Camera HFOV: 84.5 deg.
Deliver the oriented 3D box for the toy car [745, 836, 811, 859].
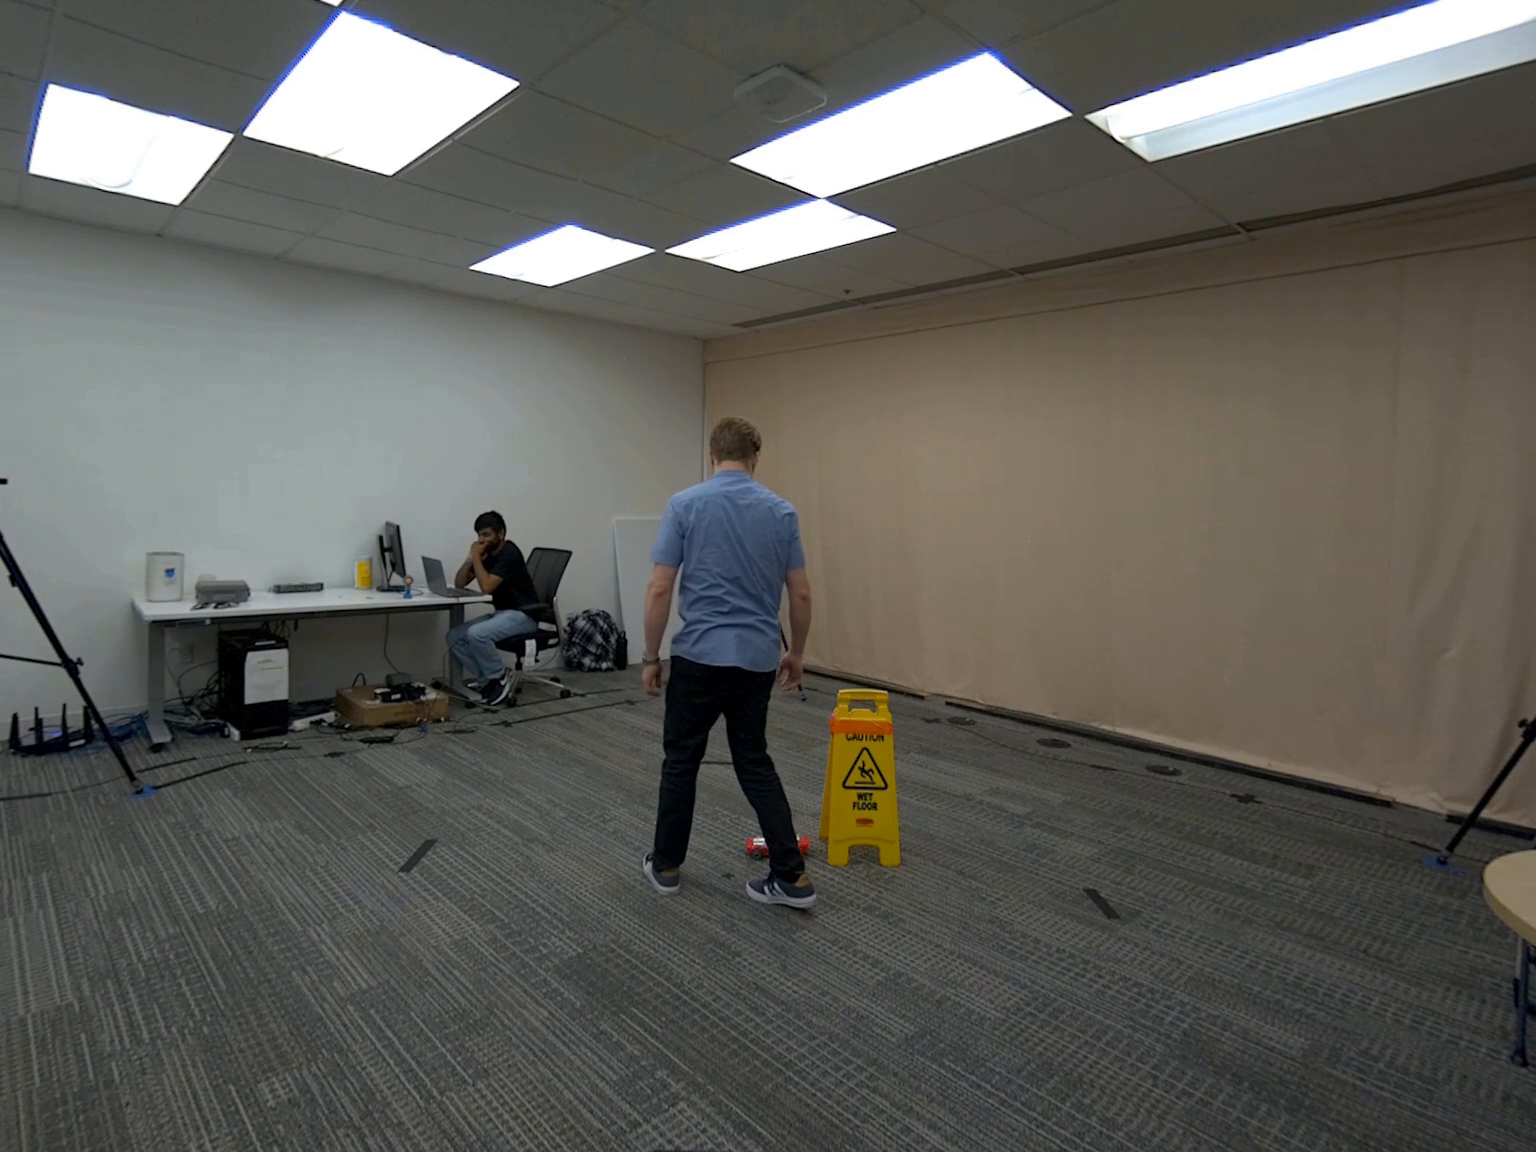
[{"bbox_3d":[0.036,1.059,3.318,0.253,0.083,0.131,-9,5,-5],"label":"toy car"}]
